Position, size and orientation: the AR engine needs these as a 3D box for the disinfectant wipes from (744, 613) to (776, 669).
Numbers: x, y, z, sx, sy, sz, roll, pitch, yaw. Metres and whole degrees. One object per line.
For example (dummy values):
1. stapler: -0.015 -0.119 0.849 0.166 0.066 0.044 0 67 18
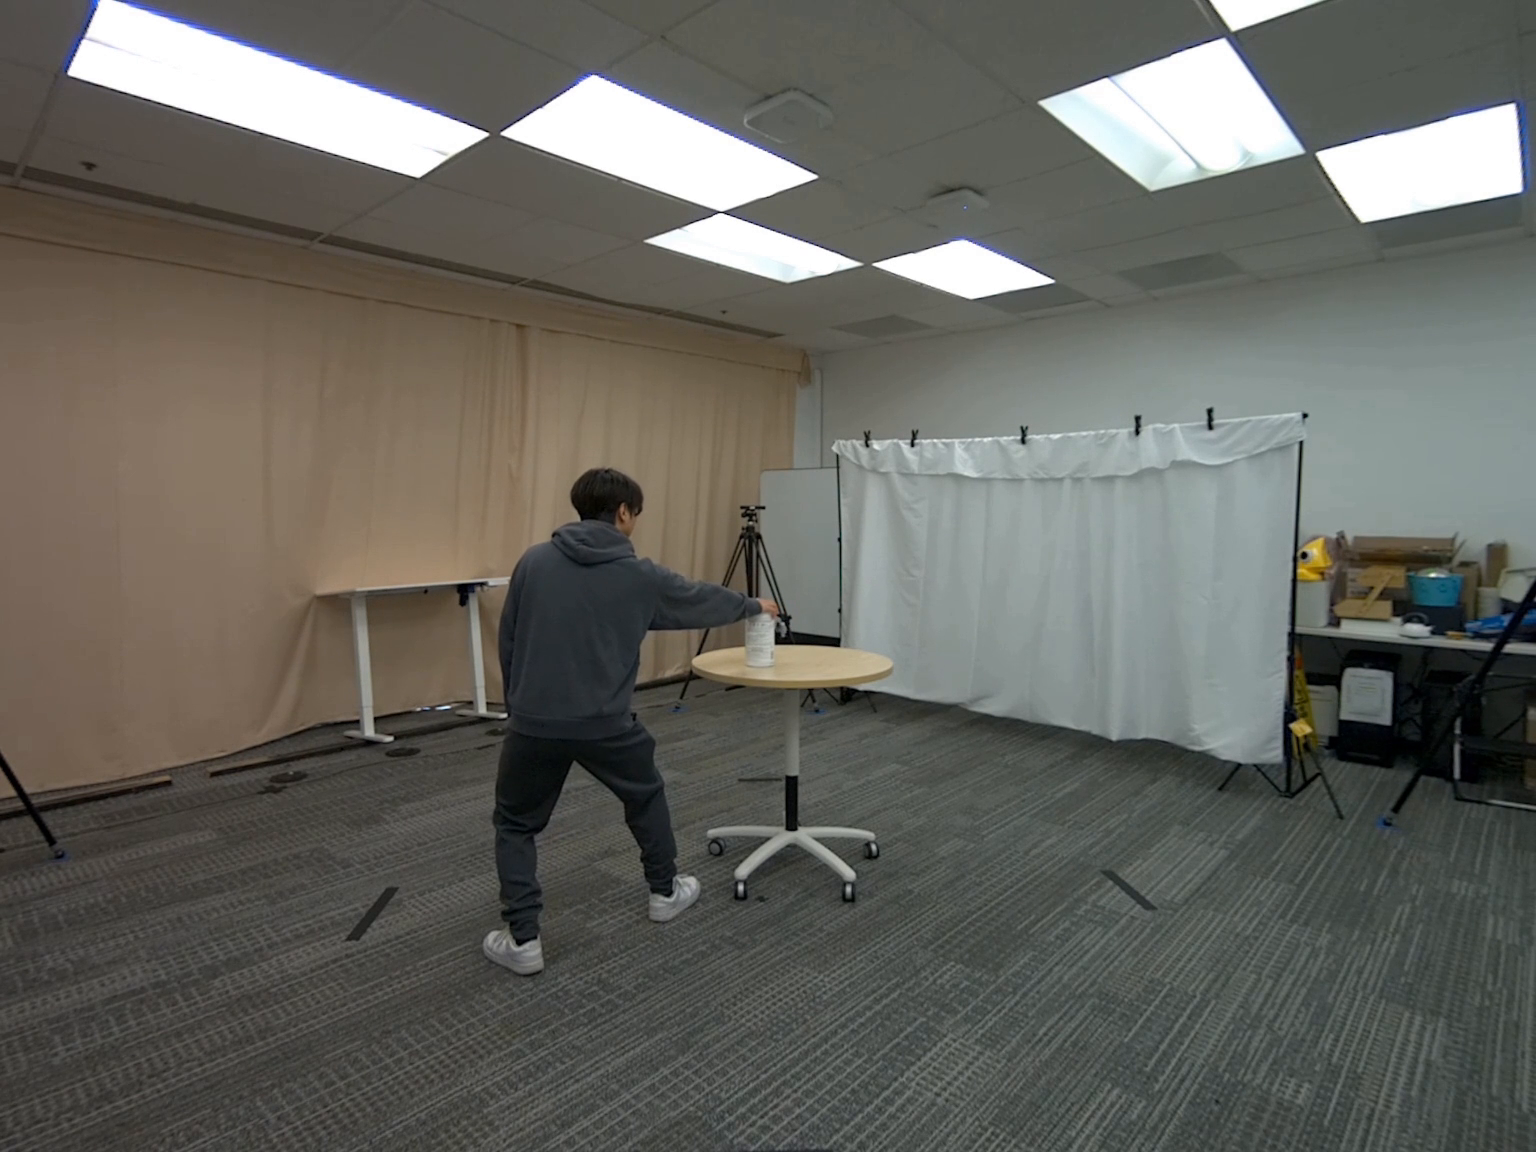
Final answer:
1. disinfectant wipes: -0.023 0.229 3.138 0.118 0.217 0.118 -2 4 -2
